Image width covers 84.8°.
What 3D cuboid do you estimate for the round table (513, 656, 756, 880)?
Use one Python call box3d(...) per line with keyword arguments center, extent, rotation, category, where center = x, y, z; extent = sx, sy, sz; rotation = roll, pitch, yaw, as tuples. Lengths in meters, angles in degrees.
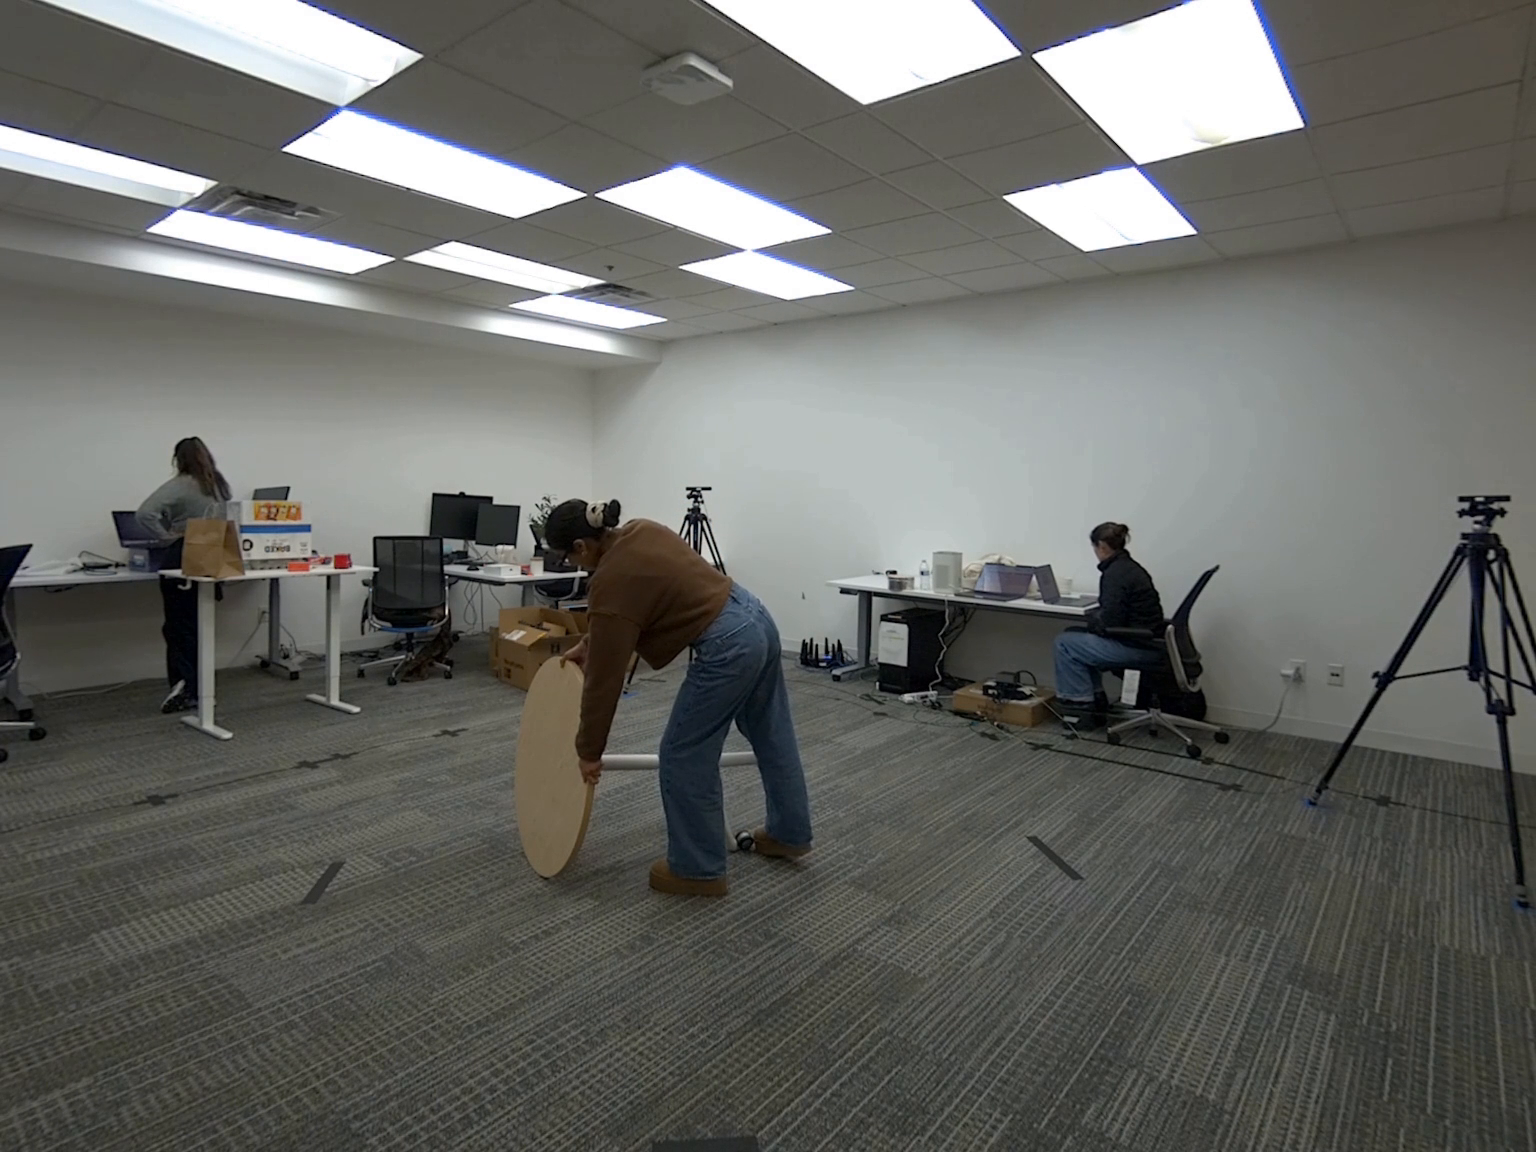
box3d(center=(-0.488, 0.709, 3.282), extent=(0.770, 0.764, 0.788), rotation=(7, 0, -31), category="round table")
